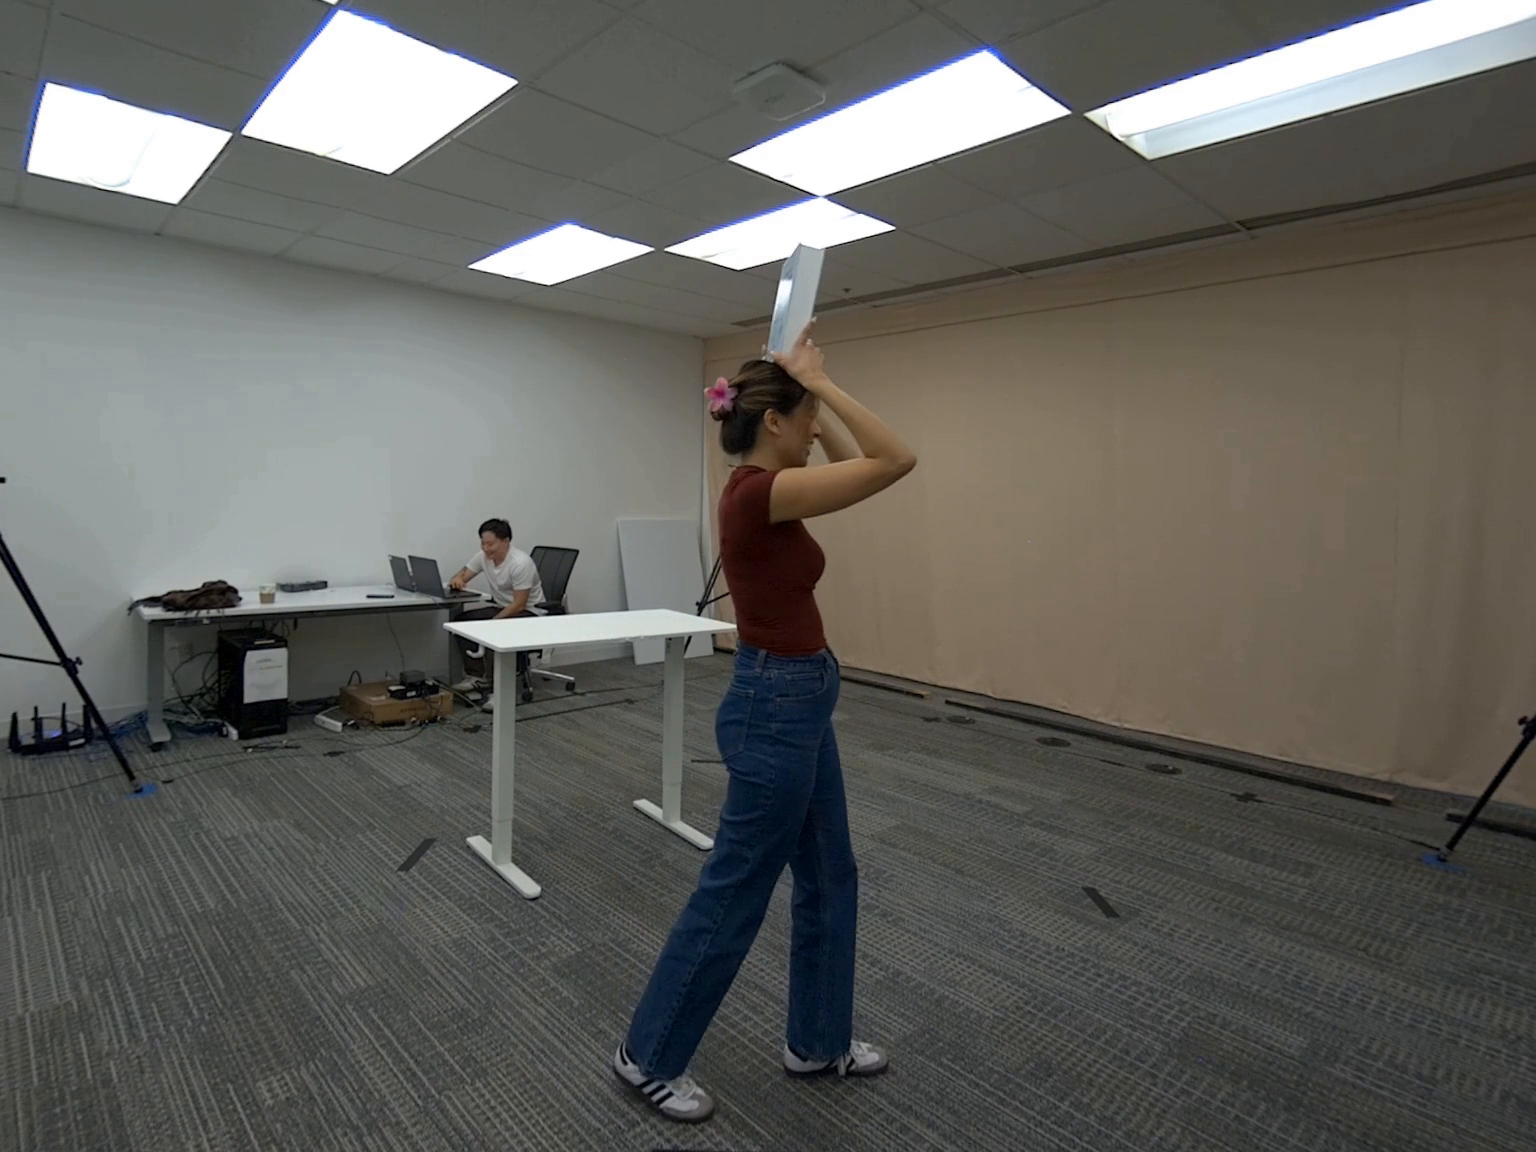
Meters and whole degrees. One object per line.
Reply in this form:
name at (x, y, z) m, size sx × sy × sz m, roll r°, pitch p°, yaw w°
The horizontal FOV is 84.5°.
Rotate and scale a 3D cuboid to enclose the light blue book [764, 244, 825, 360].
light blue book at (0.048, -0.598, 1.895) m, size 0.058 × 0.261 × 0.193 m, roll 12°, pitch -3°, yaw -12°
